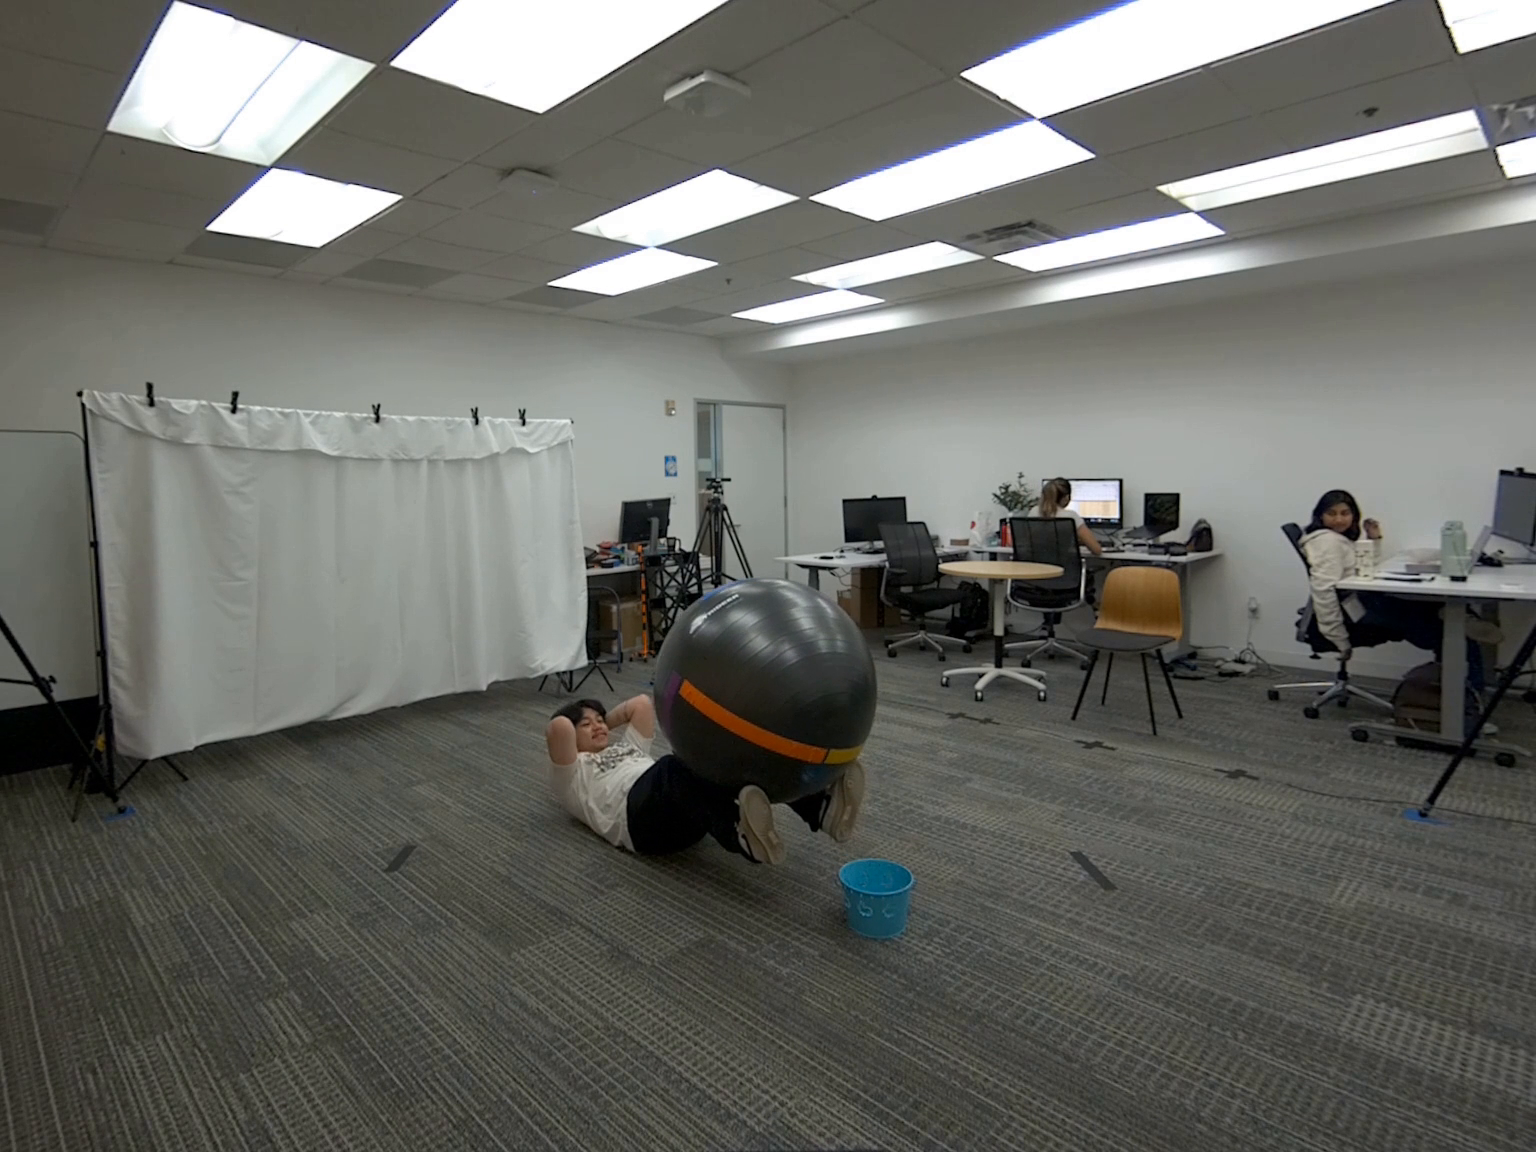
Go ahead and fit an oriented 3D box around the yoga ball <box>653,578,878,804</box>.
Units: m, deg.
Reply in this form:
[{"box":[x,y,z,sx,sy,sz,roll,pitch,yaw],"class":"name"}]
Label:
[{"box":[-0.008,0.381,2.920,0.757,0.755,0.762,-1,5,-2],"class":"yoga ball"}]
